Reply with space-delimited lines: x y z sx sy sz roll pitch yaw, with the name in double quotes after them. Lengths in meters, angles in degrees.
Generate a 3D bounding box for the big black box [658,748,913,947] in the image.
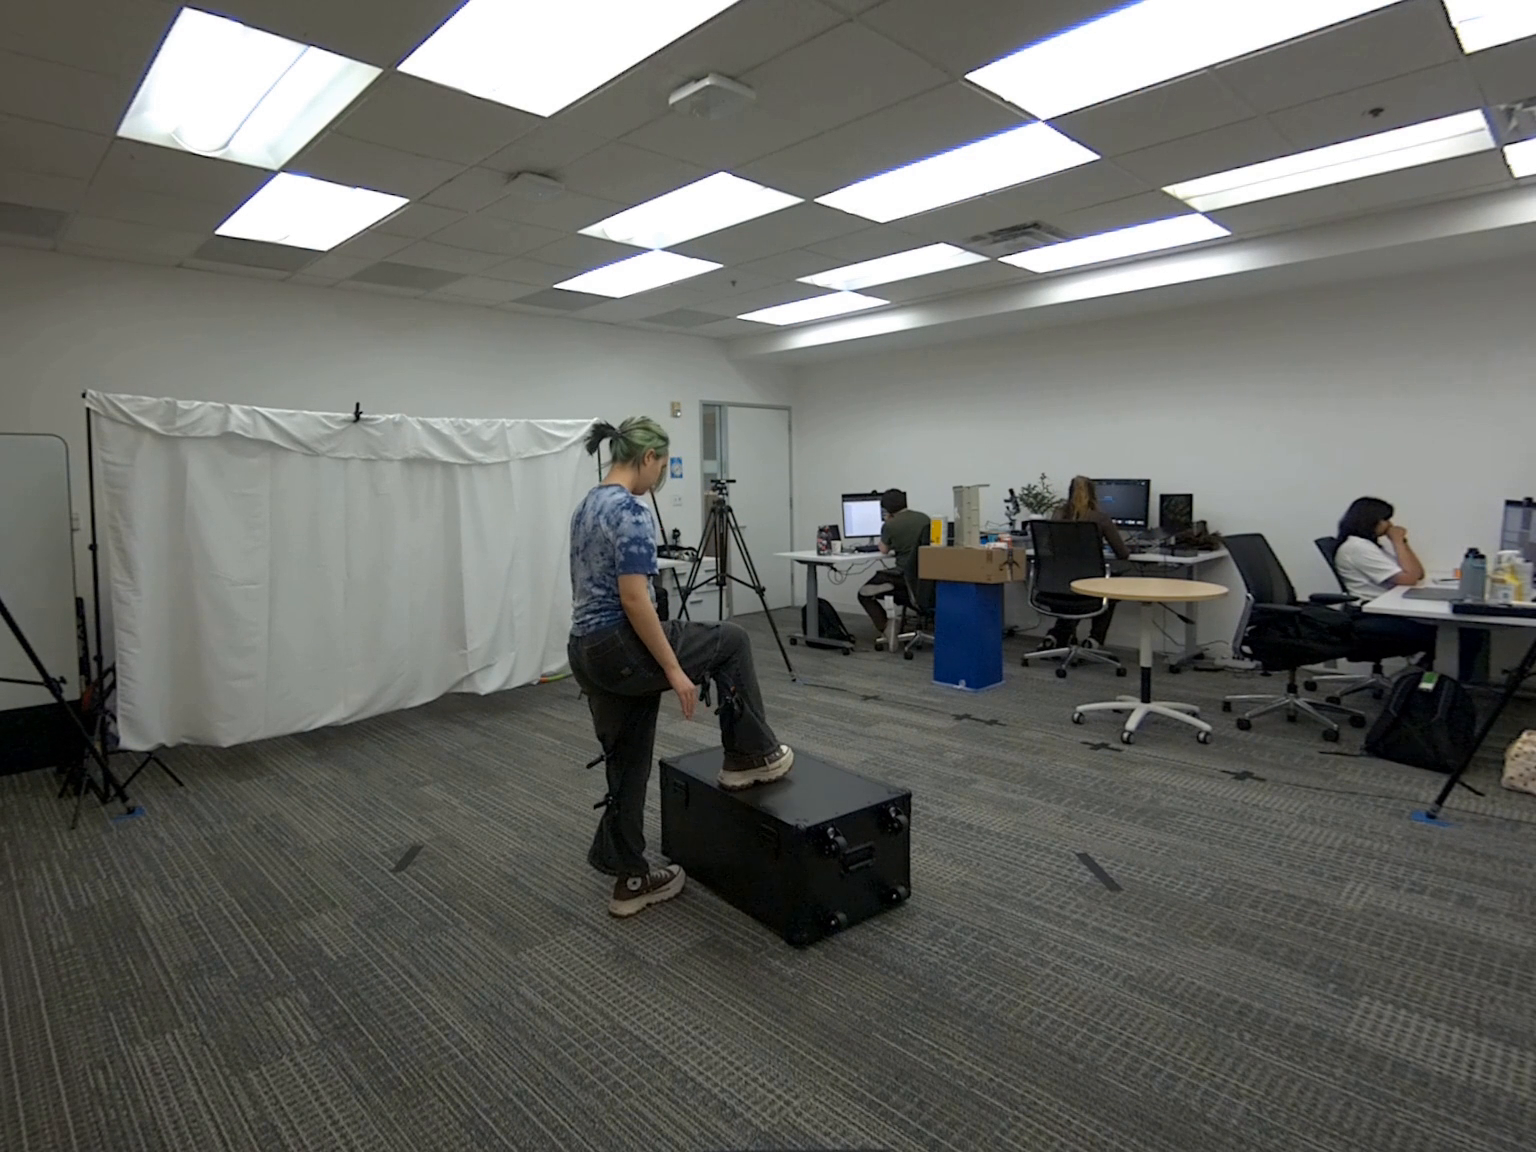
0.055 0.874 2.931 0.508 0.395 0.887 -5 7 -37 "big black box"
